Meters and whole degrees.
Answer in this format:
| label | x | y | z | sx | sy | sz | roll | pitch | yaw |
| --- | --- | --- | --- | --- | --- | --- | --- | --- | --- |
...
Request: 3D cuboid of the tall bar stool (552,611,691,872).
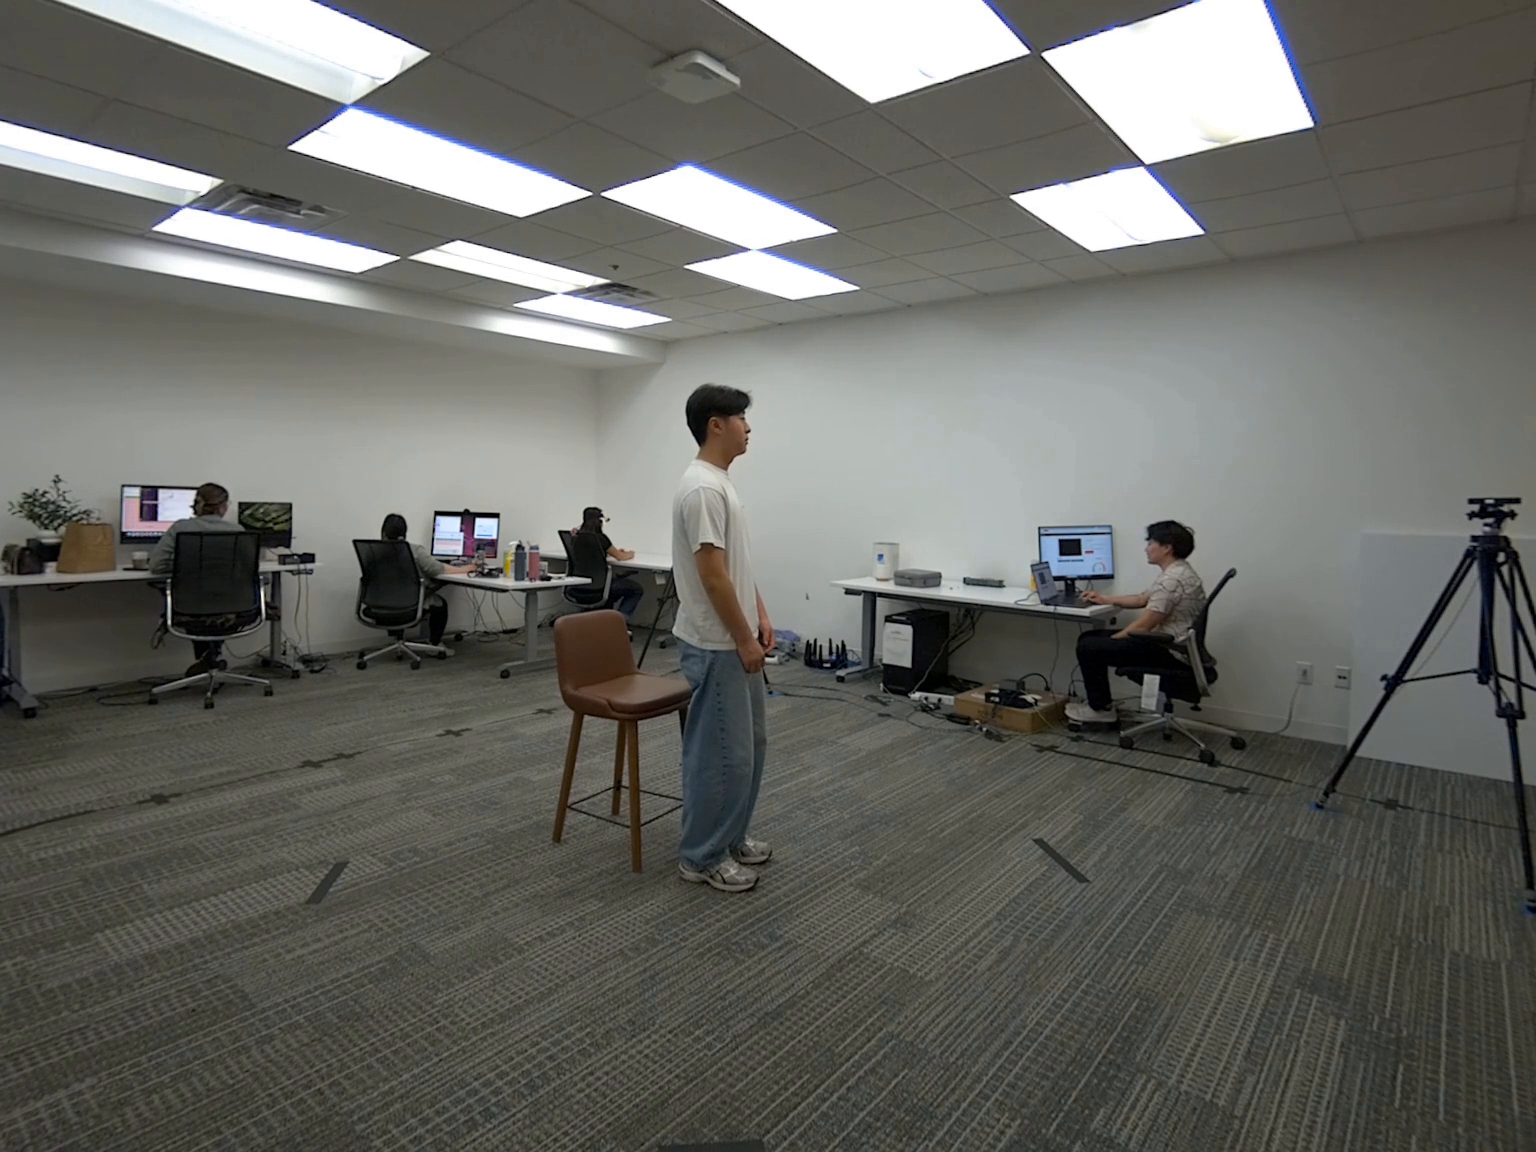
| label | x | y | z | sx | sy | sz | roll | pitch | yaw |
| --- | --- | --- | --- | --- | --- | --- | --- | --- | --- |
| tall bar stool | -0.558 | 0.597 | 3.339 | 0.481 | 0.889 | 0.444 | 1 | 2 | 32 |
